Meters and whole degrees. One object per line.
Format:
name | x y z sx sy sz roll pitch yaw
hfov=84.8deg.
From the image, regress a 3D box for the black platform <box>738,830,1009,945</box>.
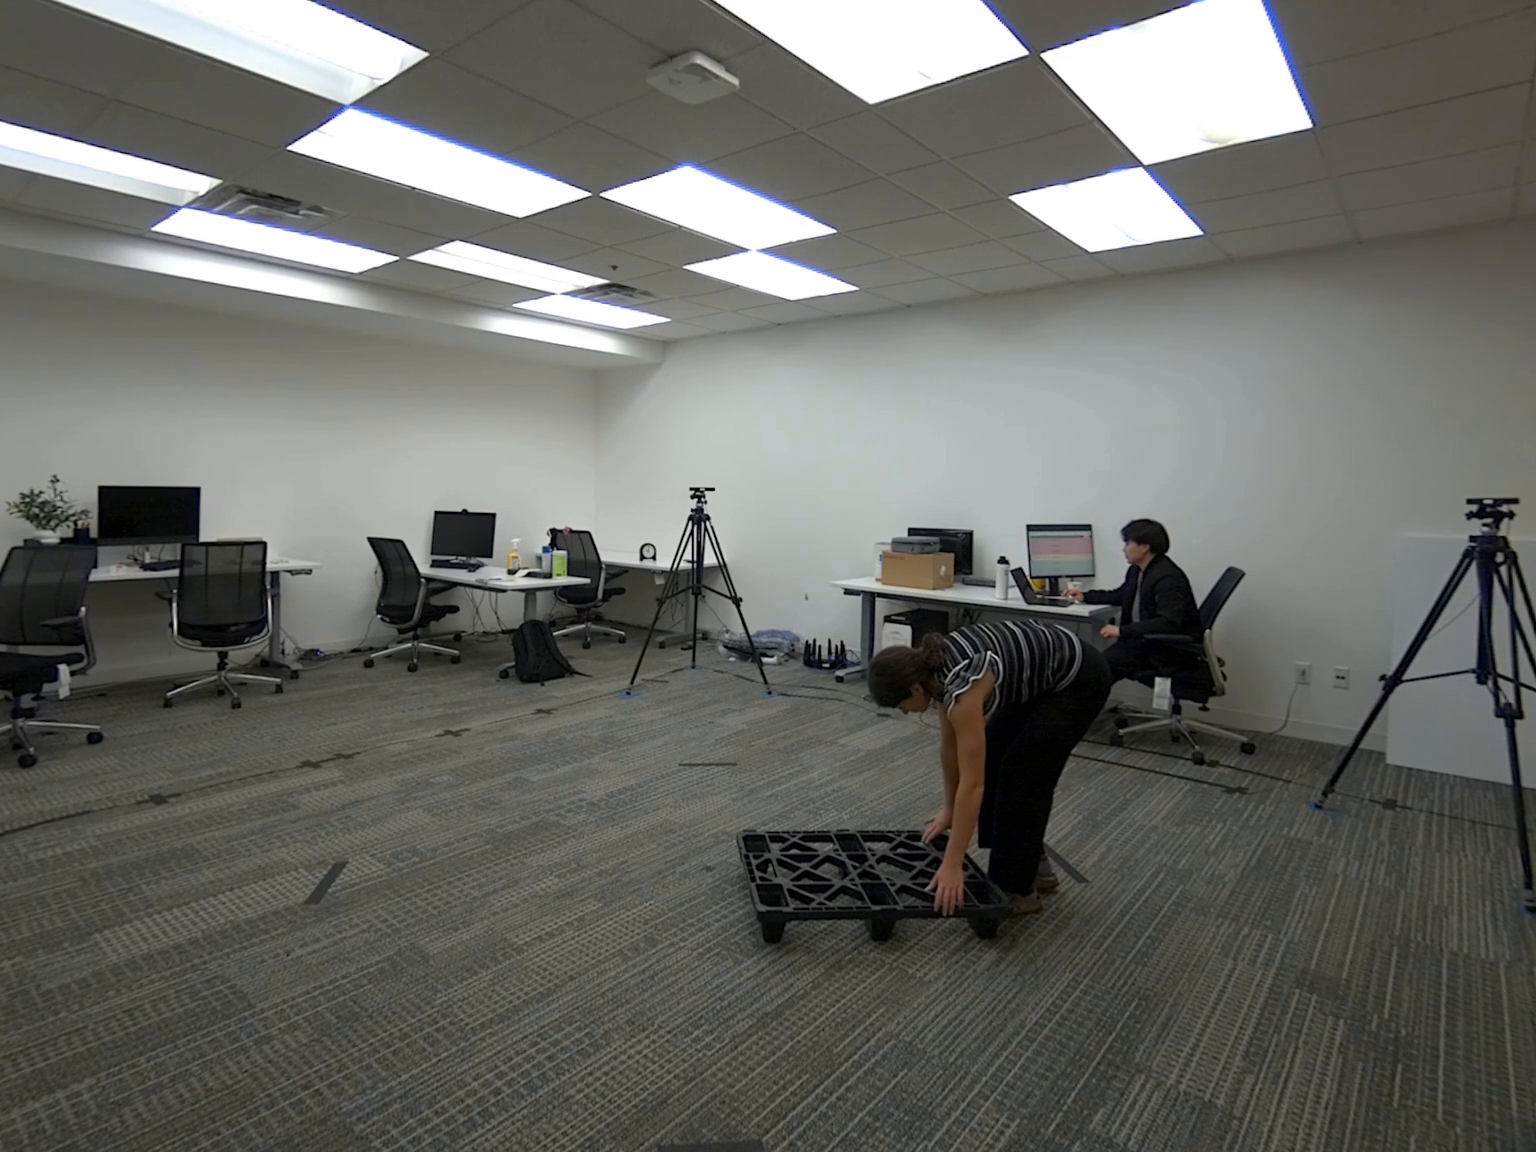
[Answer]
black platform | 0.315 1.033 2.865 0.801 0.142 0.612 1 7 -6
